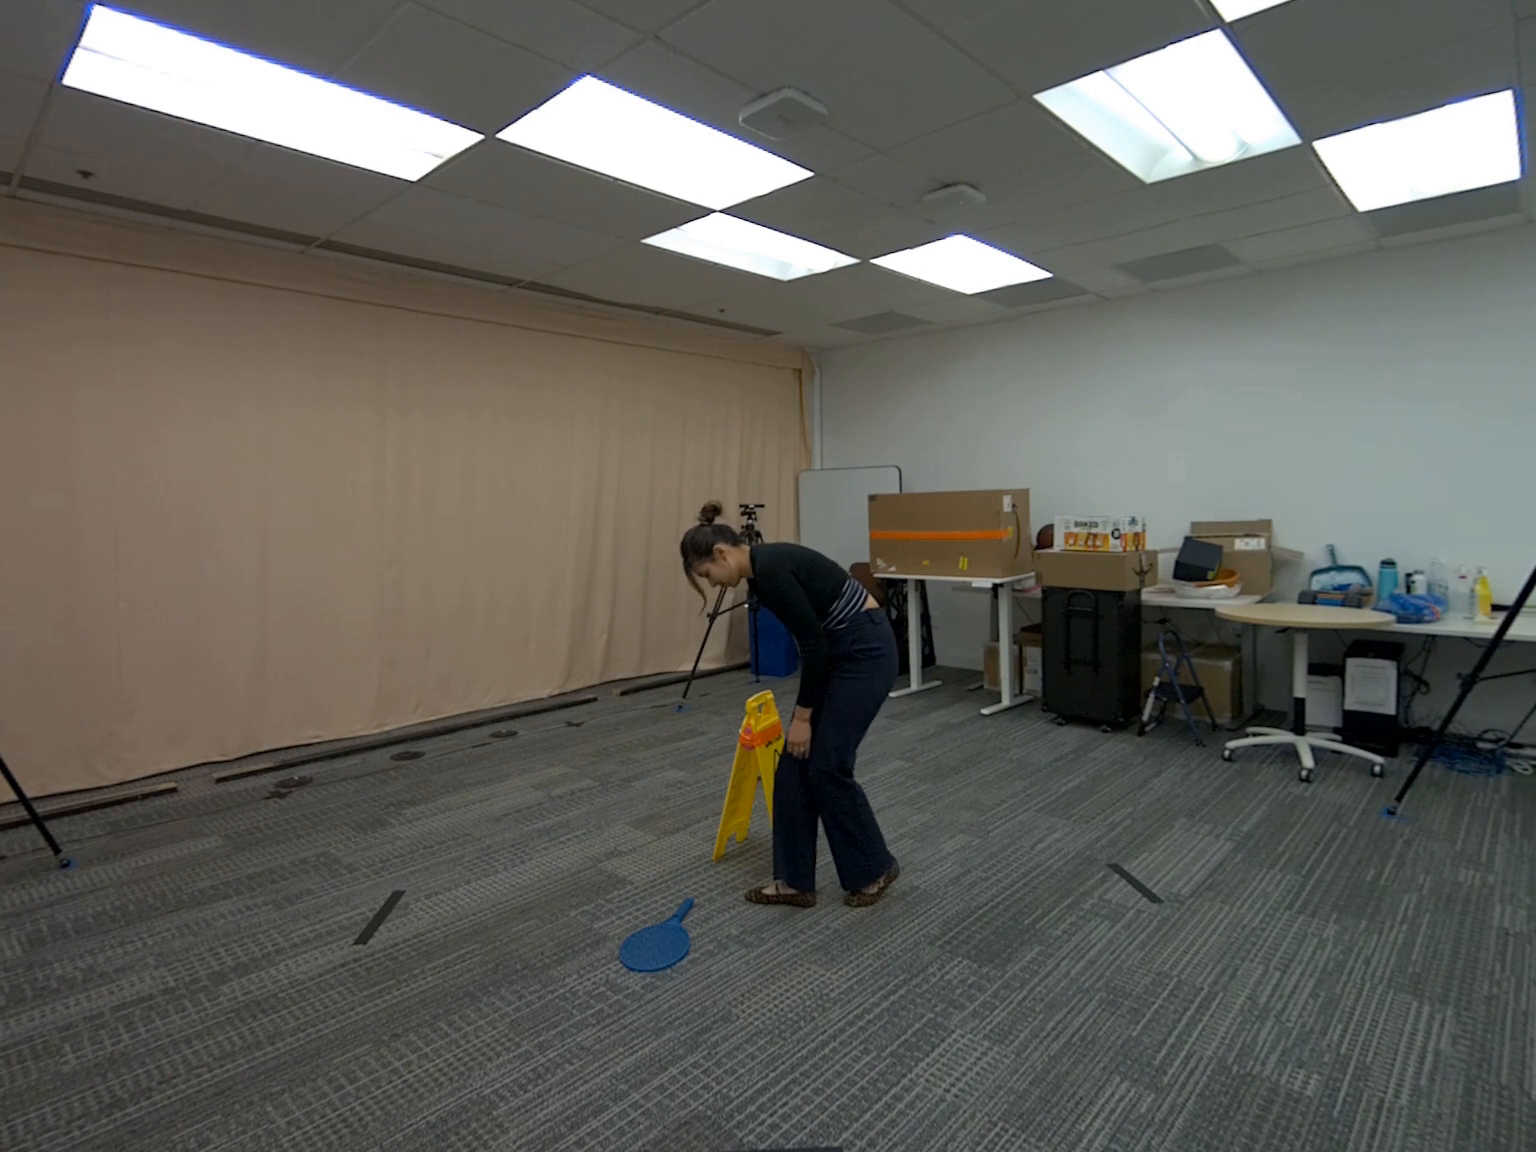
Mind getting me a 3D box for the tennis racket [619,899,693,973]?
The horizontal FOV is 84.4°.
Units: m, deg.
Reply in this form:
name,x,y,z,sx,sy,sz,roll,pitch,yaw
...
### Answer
name,x,y,z,sx,sy,sz,roll,pitch,yaw
tennis racket,-0.327,1.156,2.722,0.218,0.031,0.426,1,7,18
